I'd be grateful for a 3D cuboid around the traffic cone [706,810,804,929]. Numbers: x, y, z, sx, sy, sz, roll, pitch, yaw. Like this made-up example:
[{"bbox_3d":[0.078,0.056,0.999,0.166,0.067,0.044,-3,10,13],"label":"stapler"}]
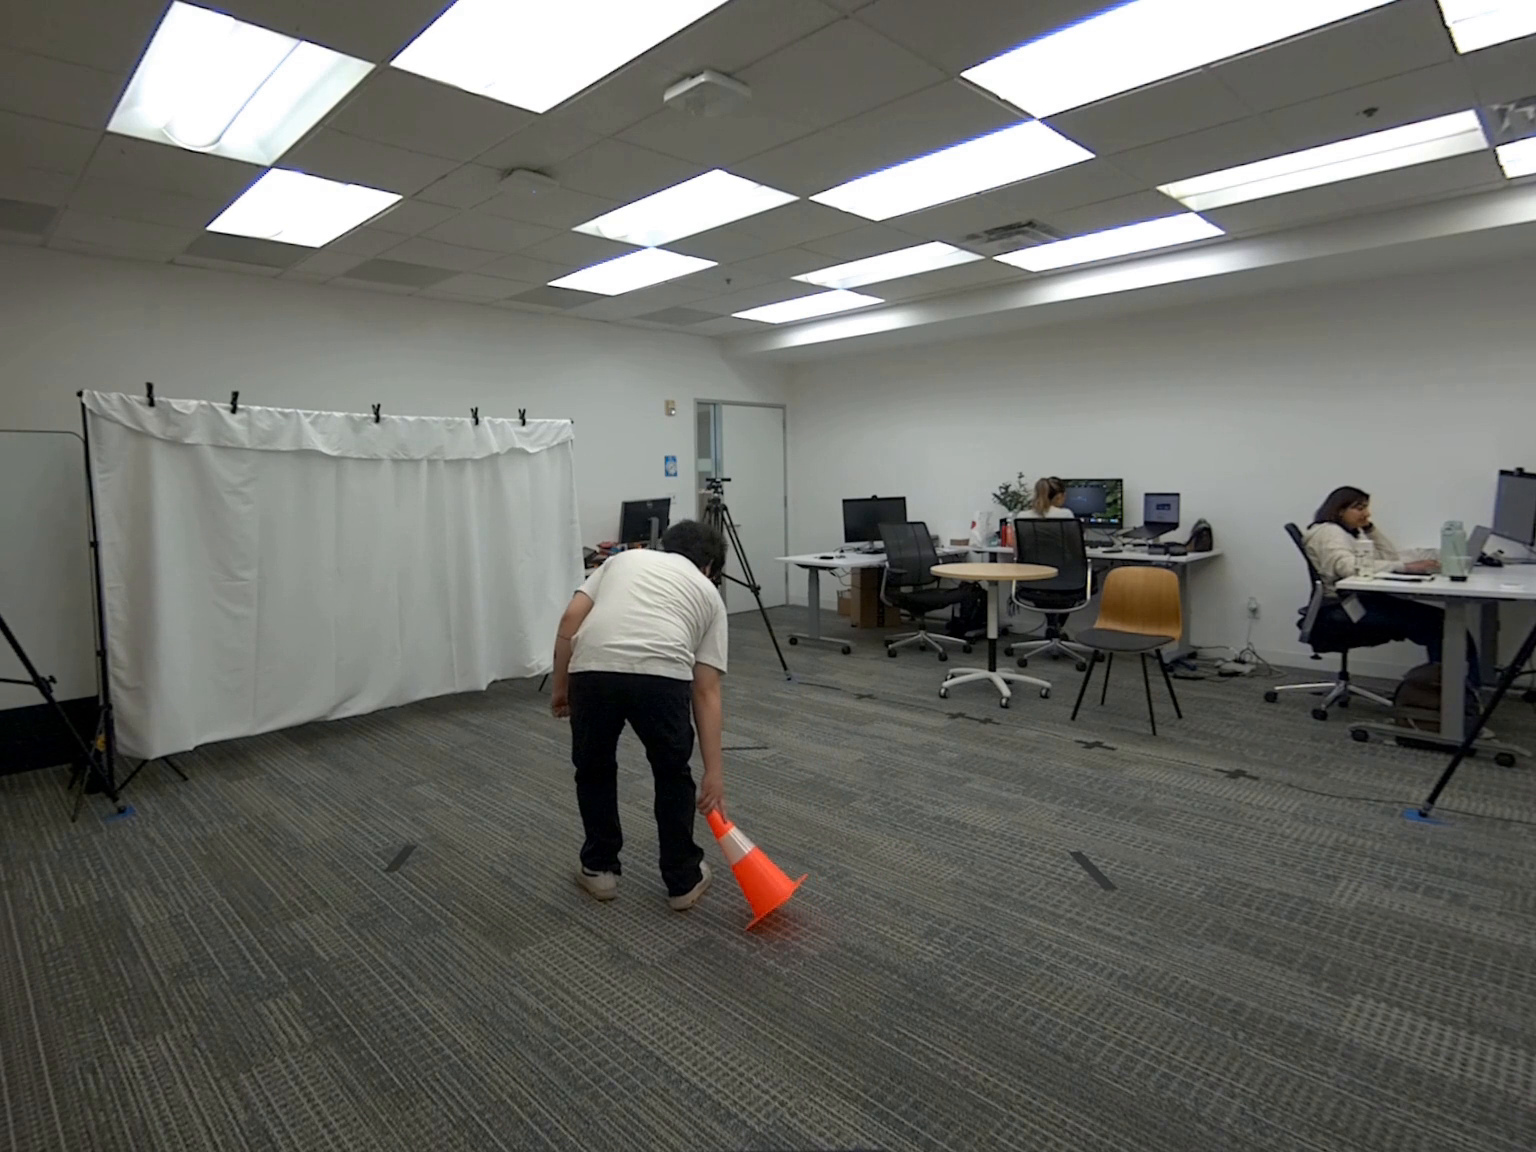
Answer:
[{"bbox_3d":[-0.084,0.886,2.728,0.203,0.390,0.201,-43,-13,17],"label":"traffic cone"}]
